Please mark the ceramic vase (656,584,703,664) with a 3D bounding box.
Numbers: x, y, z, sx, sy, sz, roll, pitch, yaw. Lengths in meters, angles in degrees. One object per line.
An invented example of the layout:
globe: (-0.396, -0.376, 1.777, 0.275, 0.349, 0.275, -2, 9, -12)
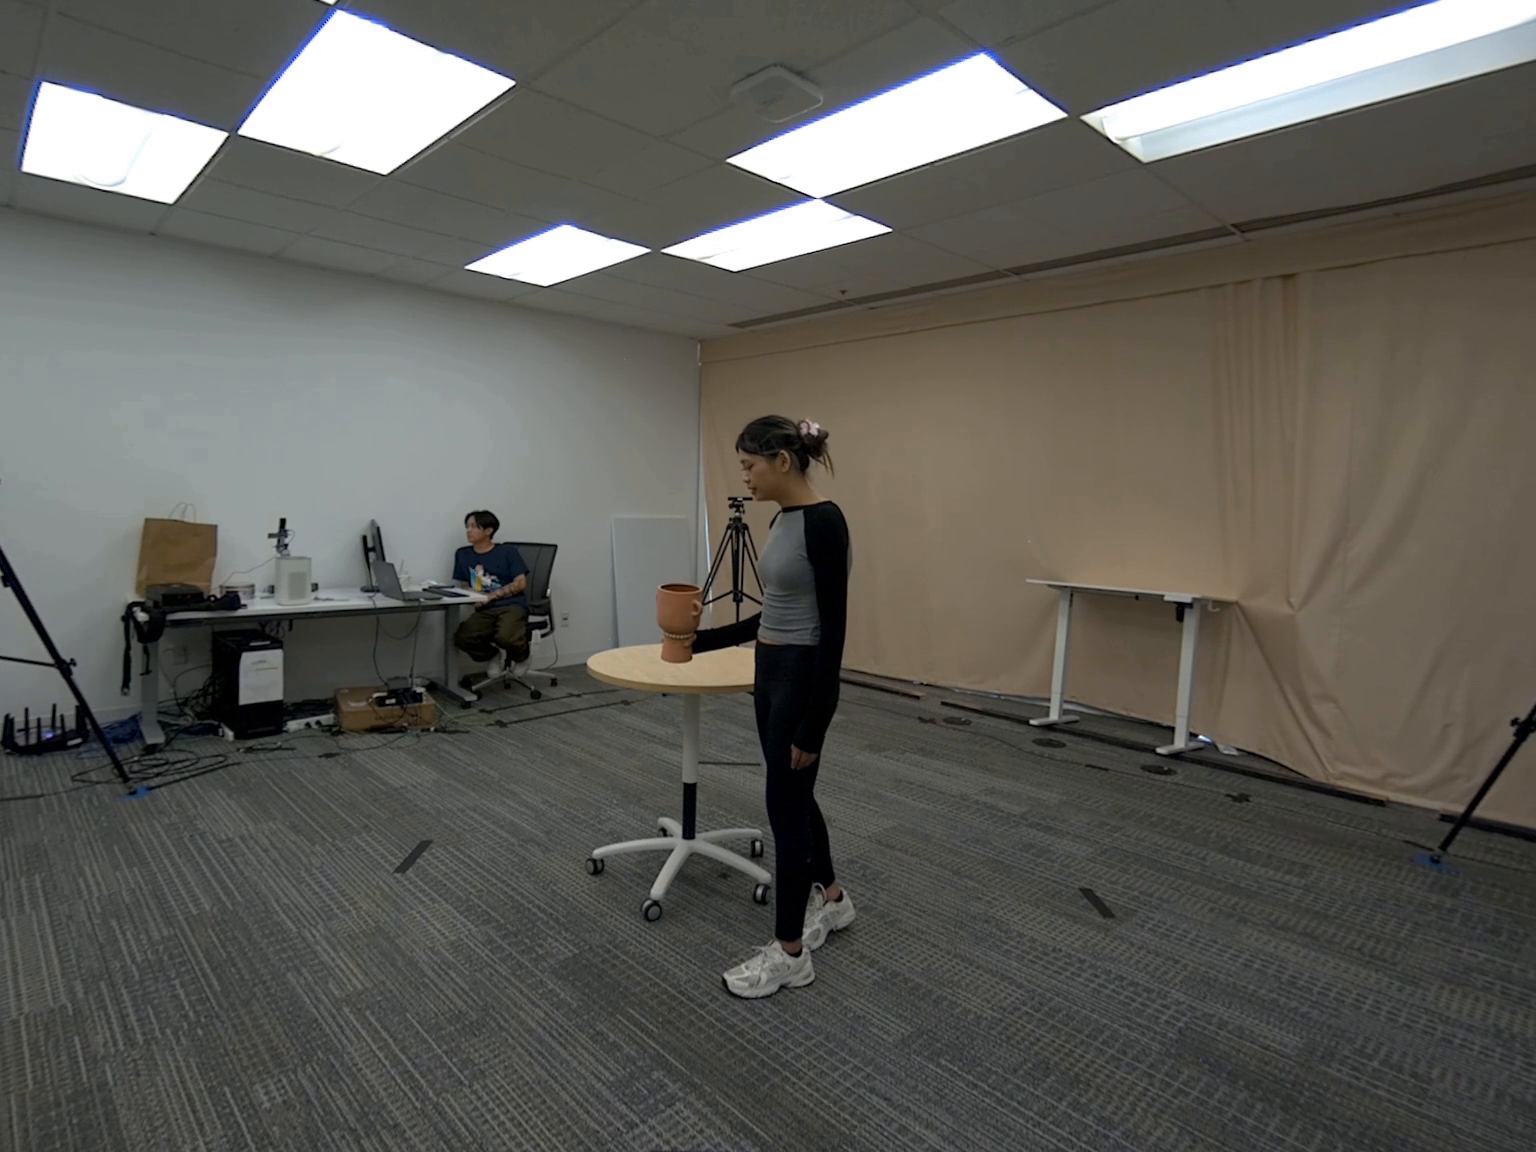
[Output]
ceramic vase: (-0.269, 0.145, 2.535, 0.133, 0.218, 0.161, 2, 11, -10)
